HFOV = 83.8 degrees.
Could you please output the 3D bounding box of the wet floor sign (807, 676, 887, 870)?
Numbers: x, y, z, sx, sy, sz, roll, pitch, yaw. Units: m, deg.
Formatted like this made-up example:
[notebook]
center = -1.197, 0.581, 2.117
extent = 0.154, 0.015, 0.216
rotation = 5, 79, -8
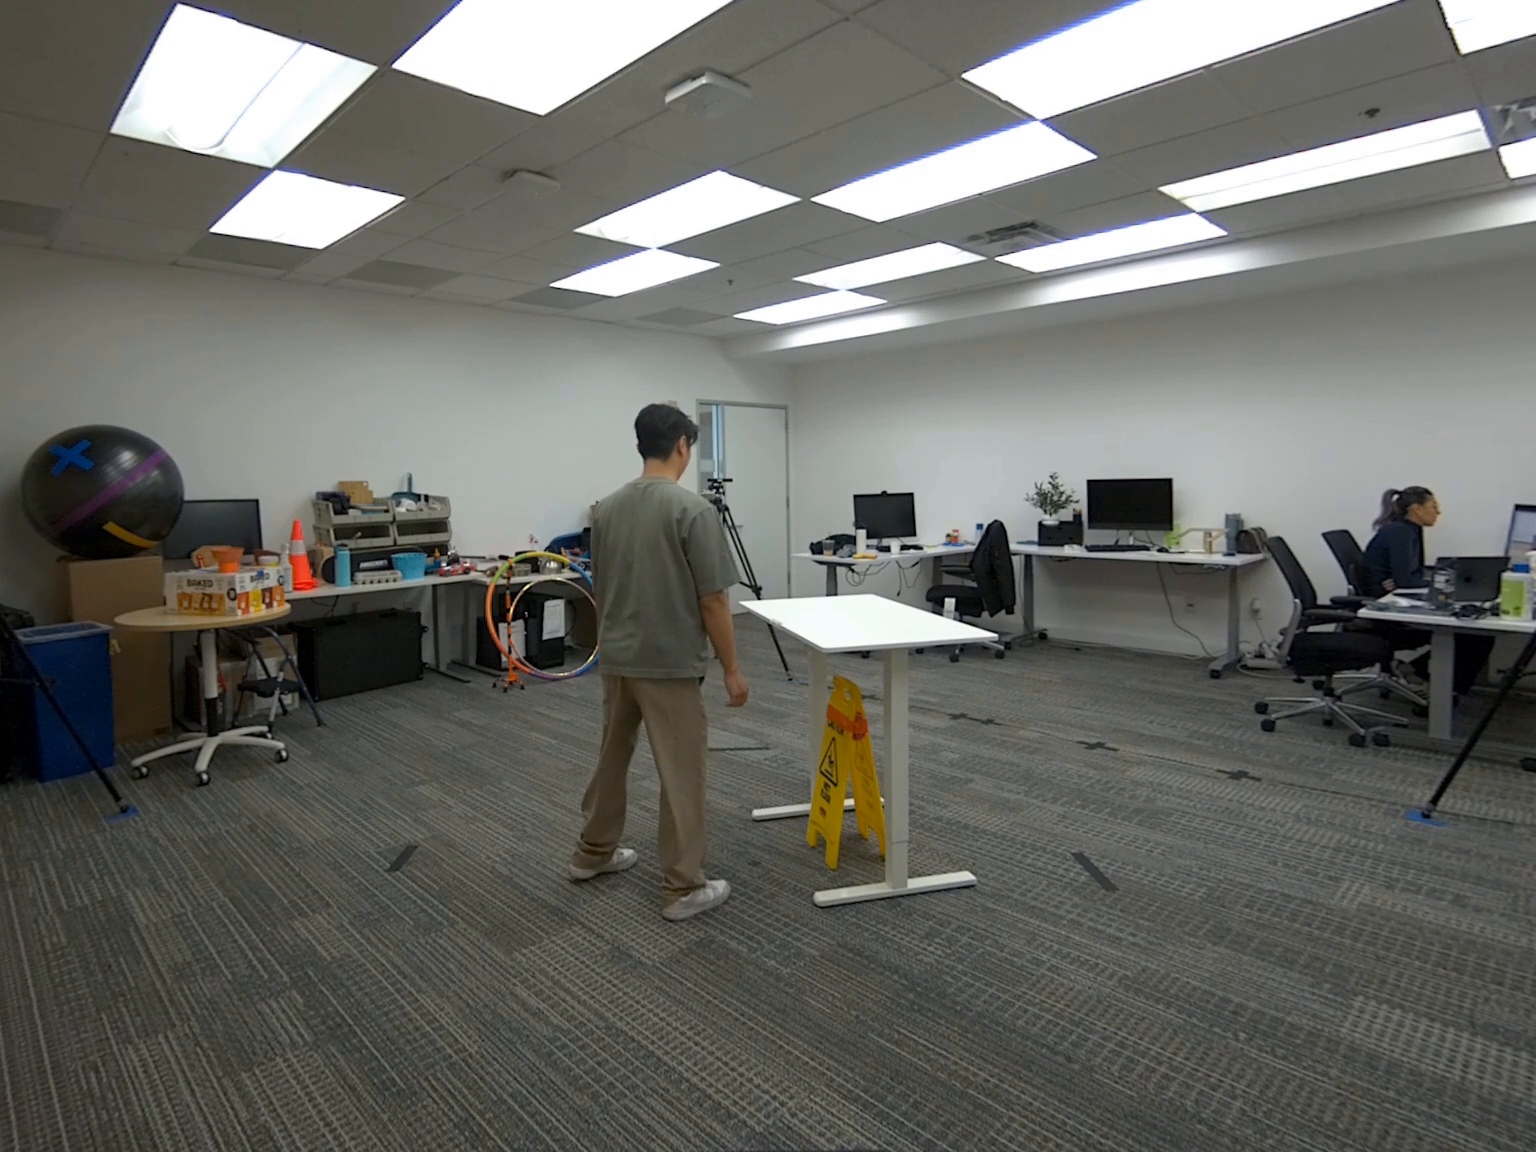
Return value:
[wet floor sign]
center = 0.311, 0.716, 3.172
extent = 0.286, 0.643, 0.288
rotation = -1, 6, -16
